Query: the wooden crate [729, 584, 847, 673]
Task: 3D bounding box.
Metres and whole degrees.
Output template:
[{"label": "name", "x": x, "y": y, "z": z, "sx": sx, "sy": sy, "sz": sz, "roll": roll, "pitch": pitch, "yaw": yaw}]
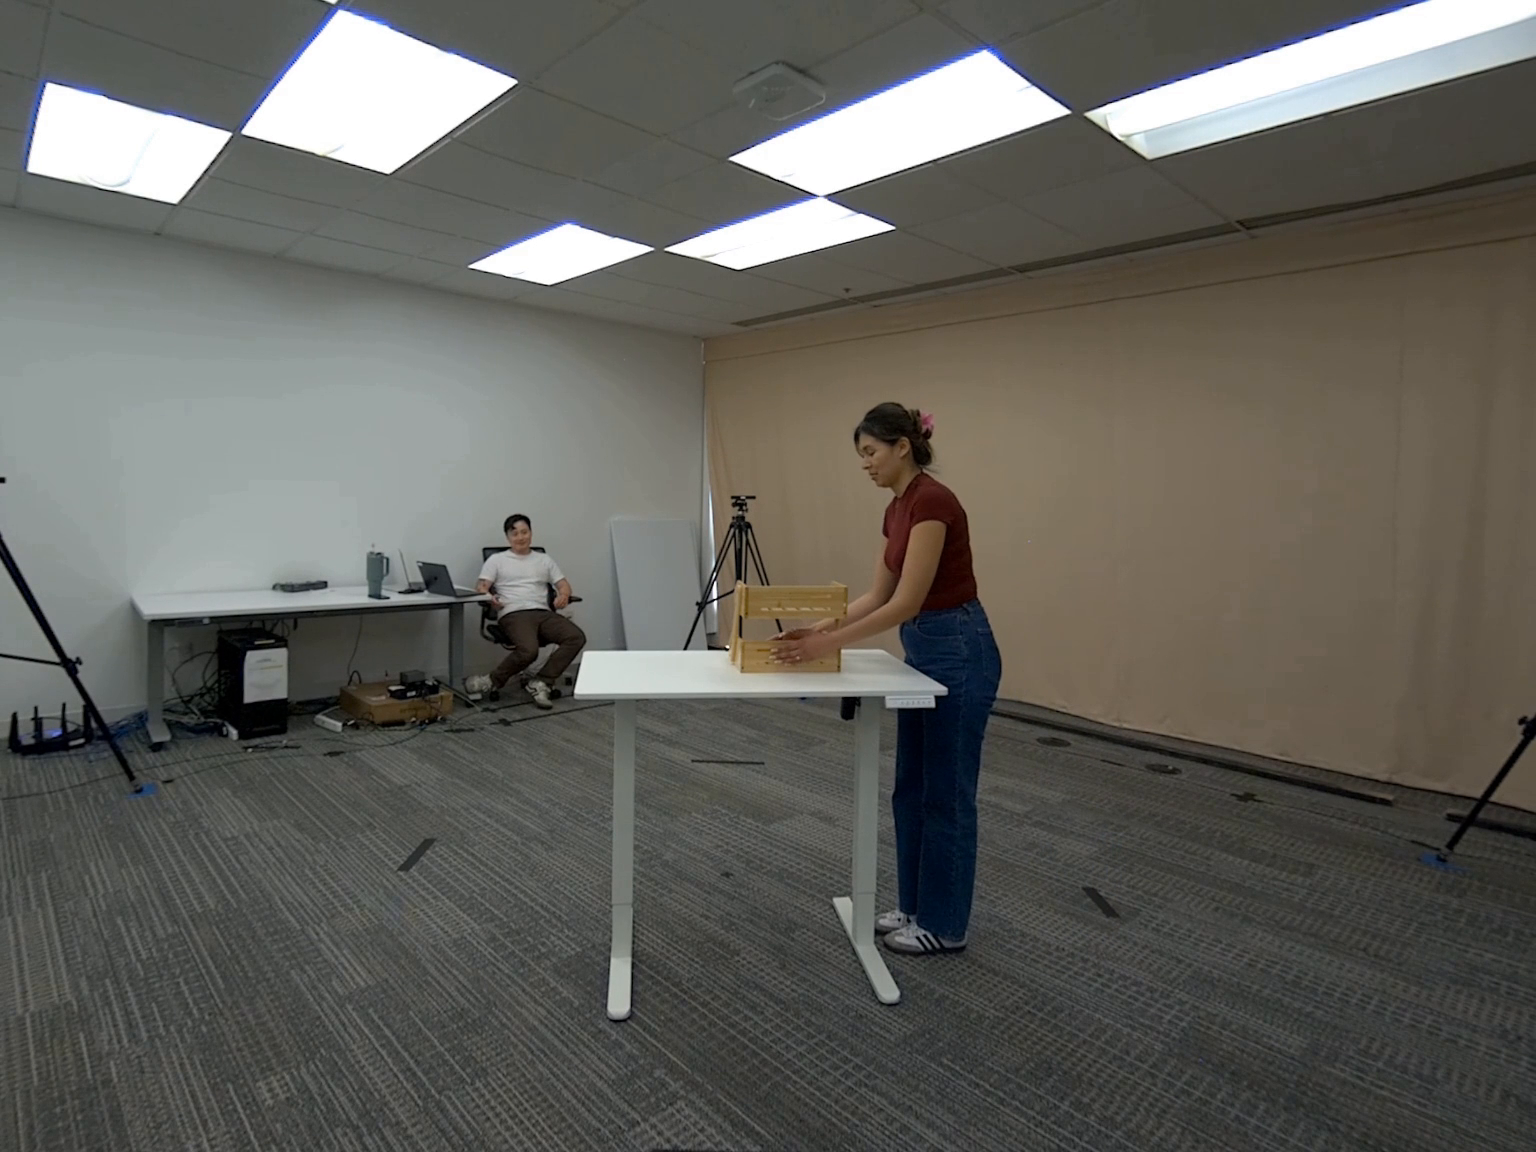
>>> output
[{"label": "wooden crate", "x": 0.051, "y": 0.142, "z": 2.568, "sx": 0.322, "sy": 0.272, "sz": 0.305, "roll": 0, "pitch": 5, "yaw": -11}]
